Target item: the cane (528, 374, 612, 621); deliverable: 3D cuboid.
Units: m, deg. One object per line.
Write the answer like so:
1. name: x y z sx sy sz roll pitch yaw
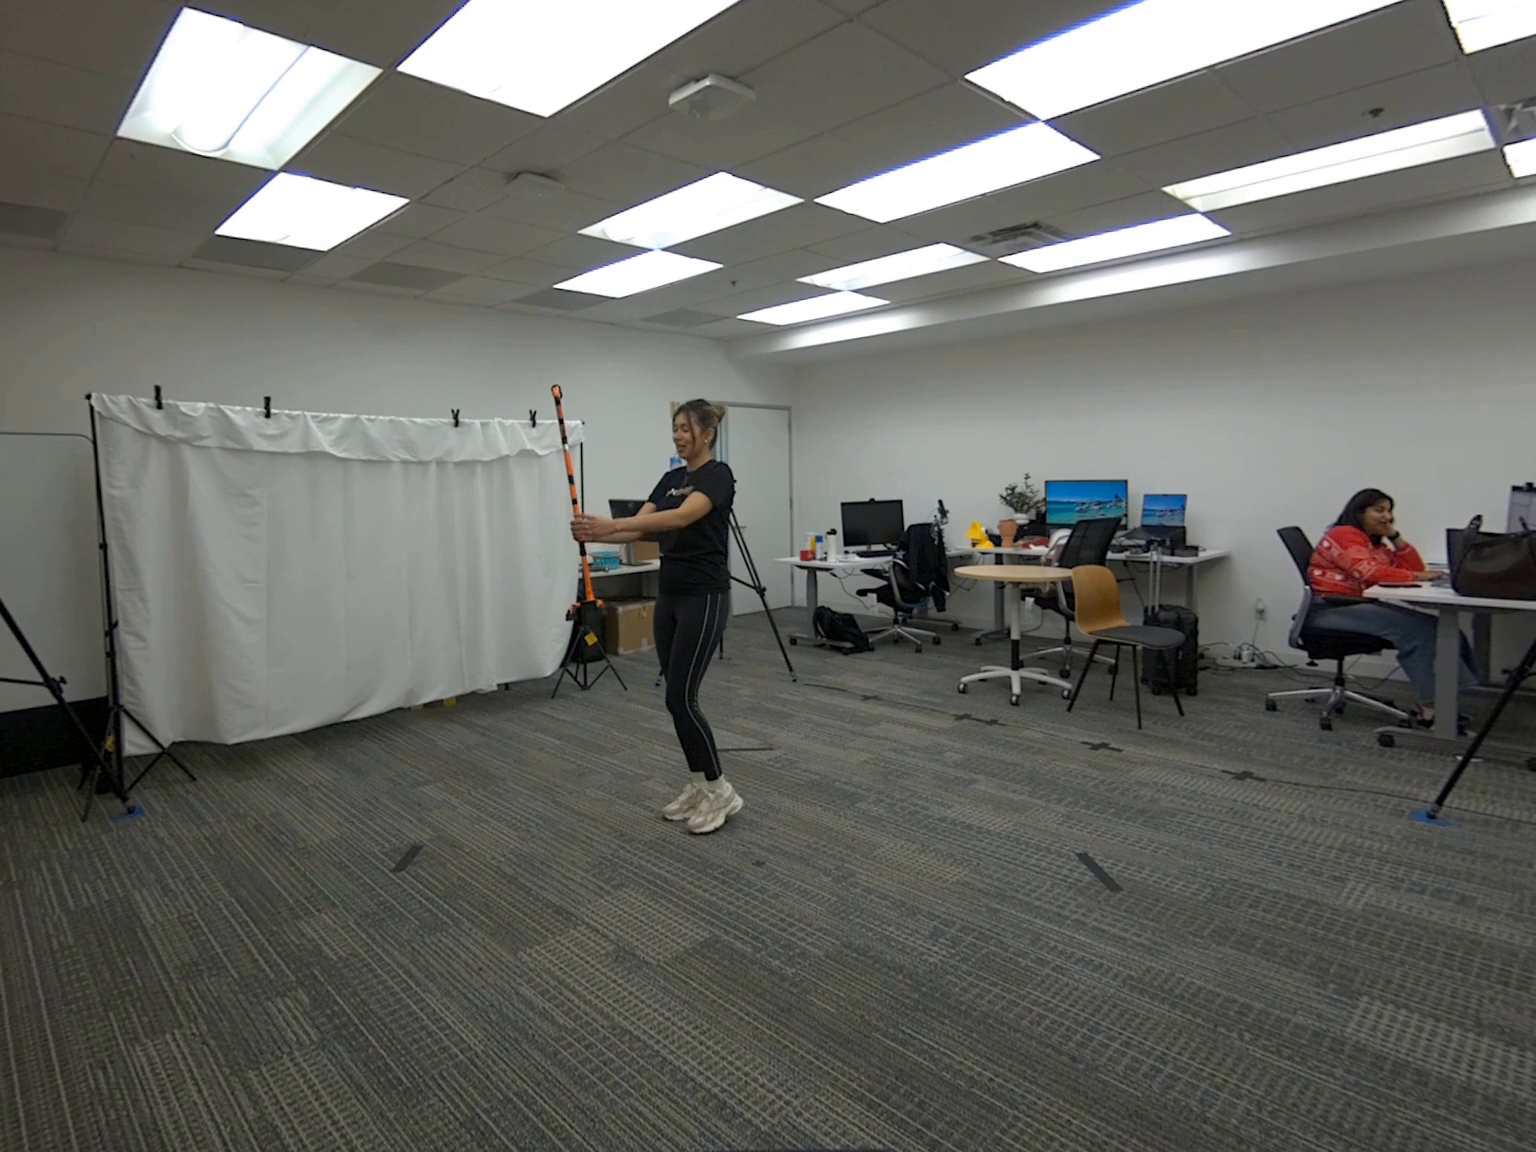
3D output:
1. cane: -0.758 -0.296 3.279 0.151 0.913 0.206 -10 -5 -7
